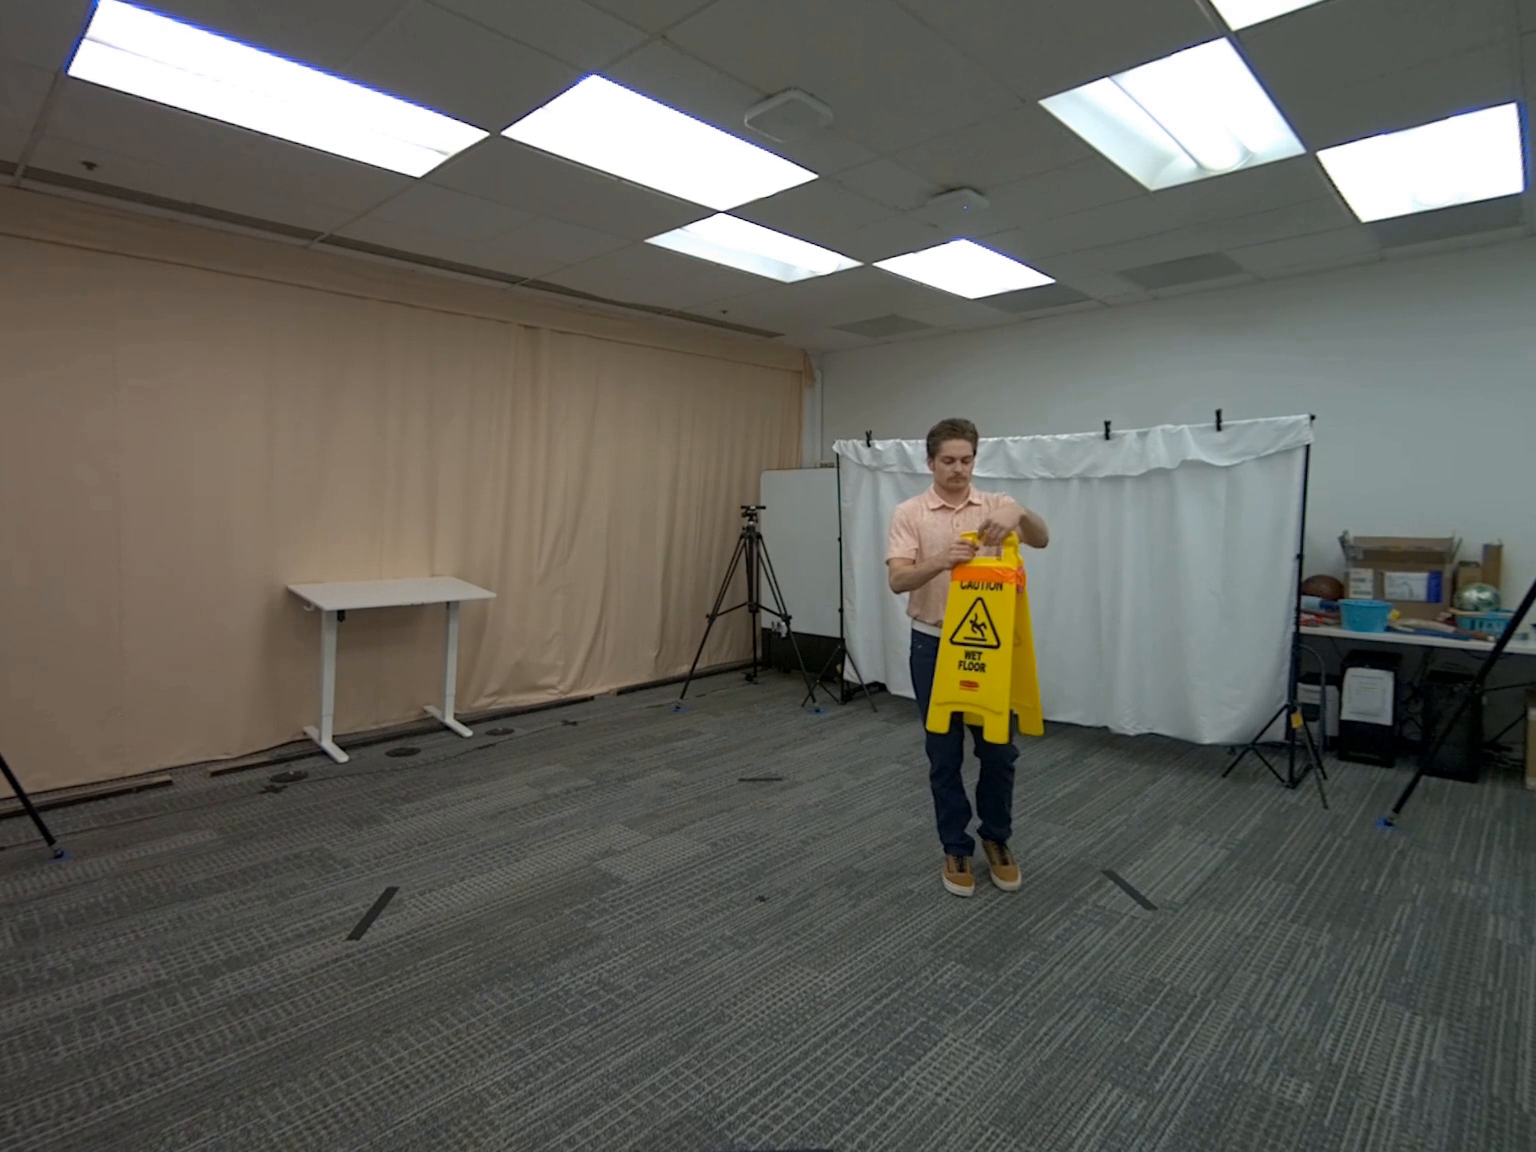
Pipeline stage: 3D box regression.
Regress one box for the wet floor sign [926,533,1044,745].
[{"bbox_3d":[0.710,0.184,2.721,0.280,0.646,0.291,2,-2,-43],"label":"wet floor sign"}]
